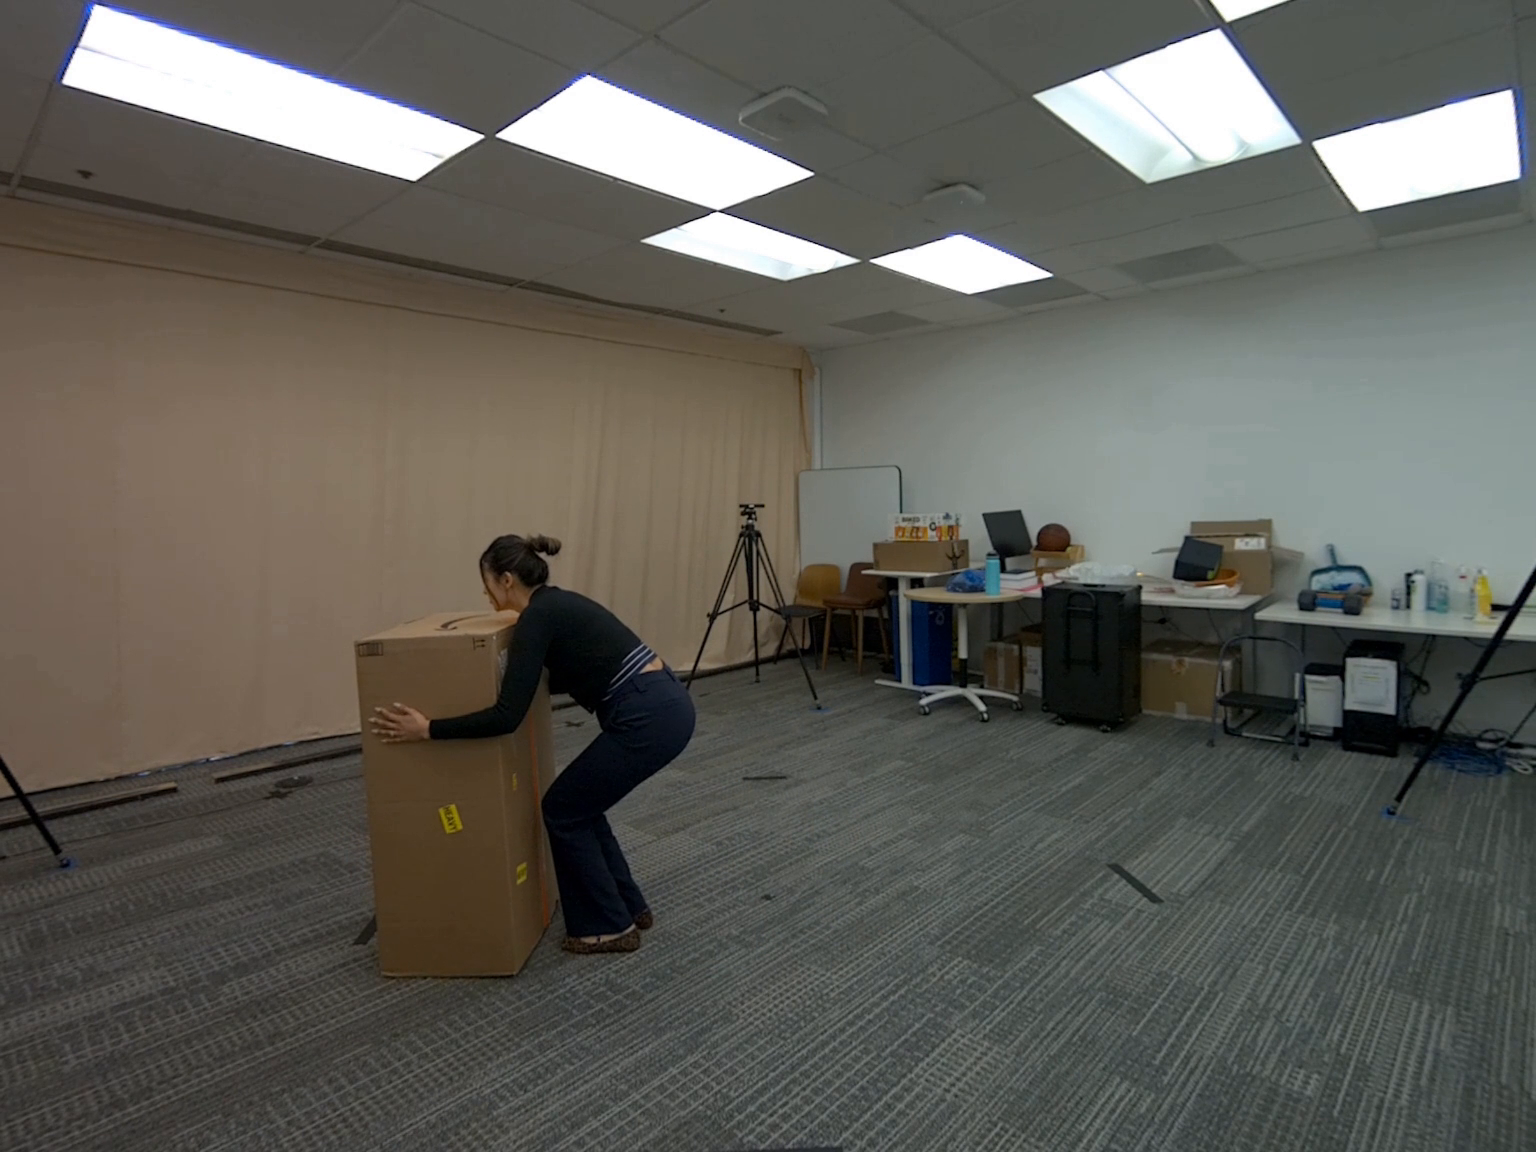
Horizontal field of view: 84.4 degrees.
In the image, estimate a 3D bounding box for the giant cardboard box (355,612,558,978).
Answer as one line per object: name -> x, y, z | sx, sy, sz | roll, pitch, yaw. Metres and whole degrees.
giant cardboard box -> -0.983, 0.666, 2.768 | 0.427, 1.024, 0.577 | -3, 3, 1
